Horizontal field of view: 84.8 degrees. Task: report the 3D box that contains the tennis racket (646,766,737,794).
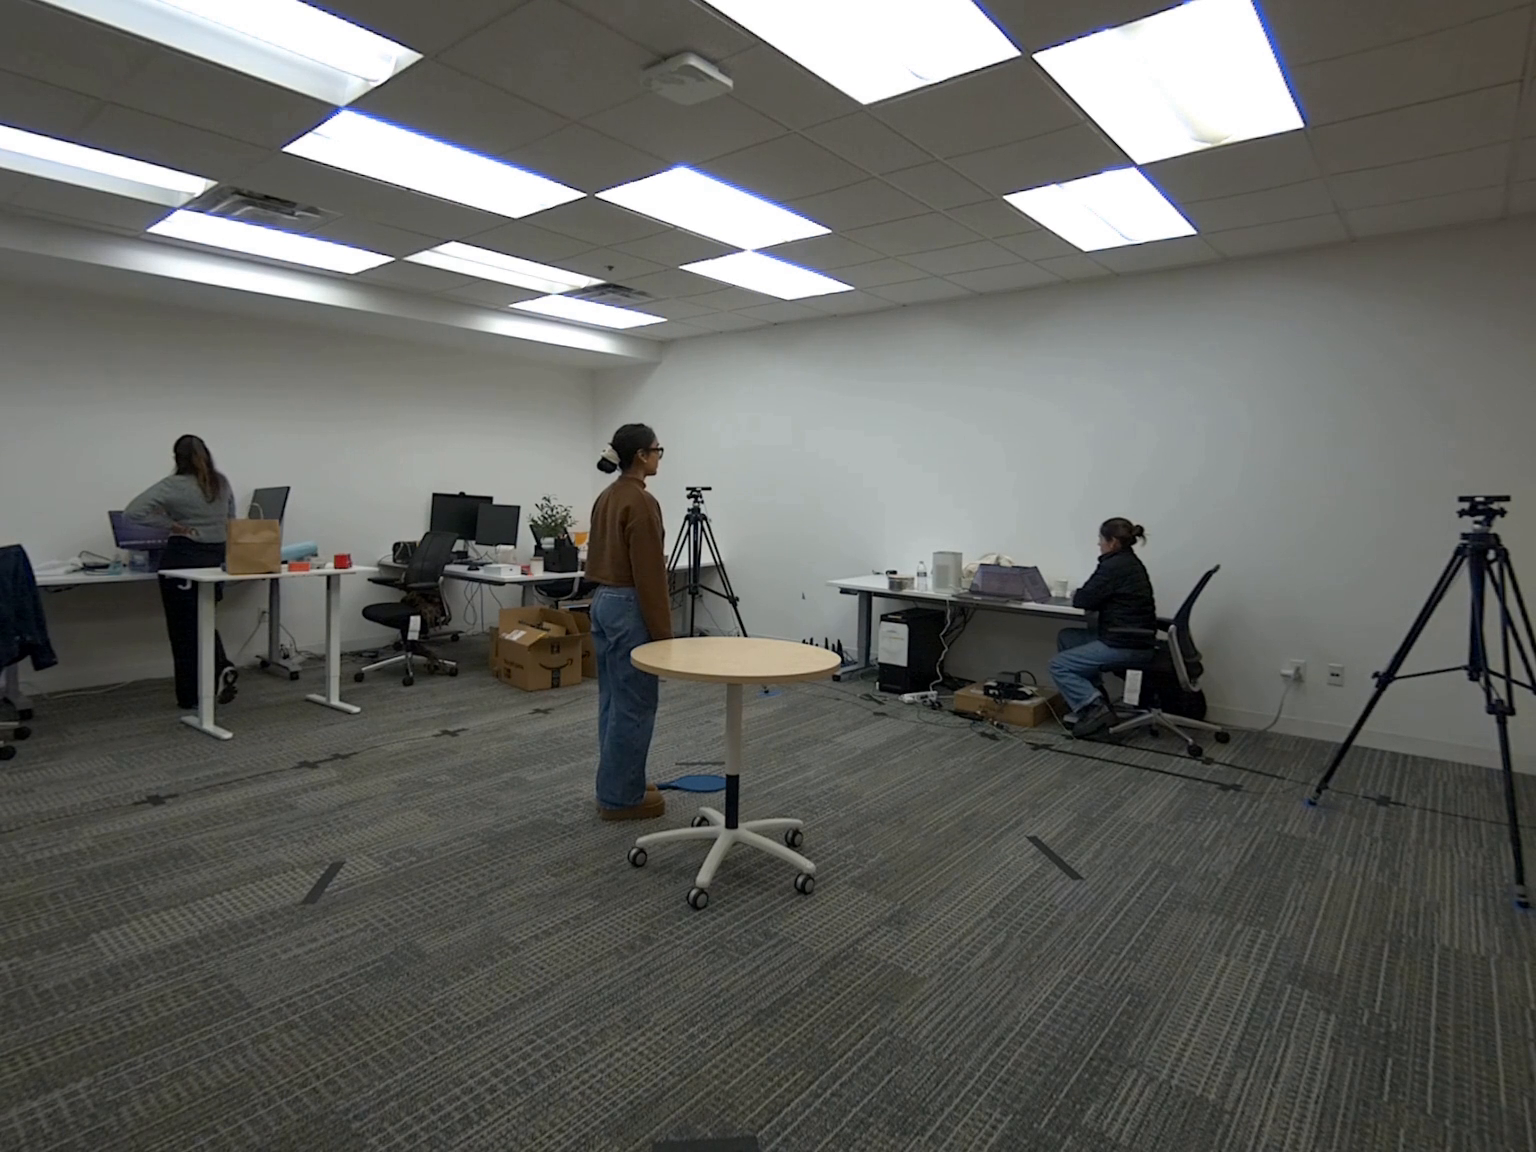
[{"bbox_3d":[-0.393,0.959,3.955,0.424,0.031,0.219,0,5,-22],"label":"tennis racket"}]
